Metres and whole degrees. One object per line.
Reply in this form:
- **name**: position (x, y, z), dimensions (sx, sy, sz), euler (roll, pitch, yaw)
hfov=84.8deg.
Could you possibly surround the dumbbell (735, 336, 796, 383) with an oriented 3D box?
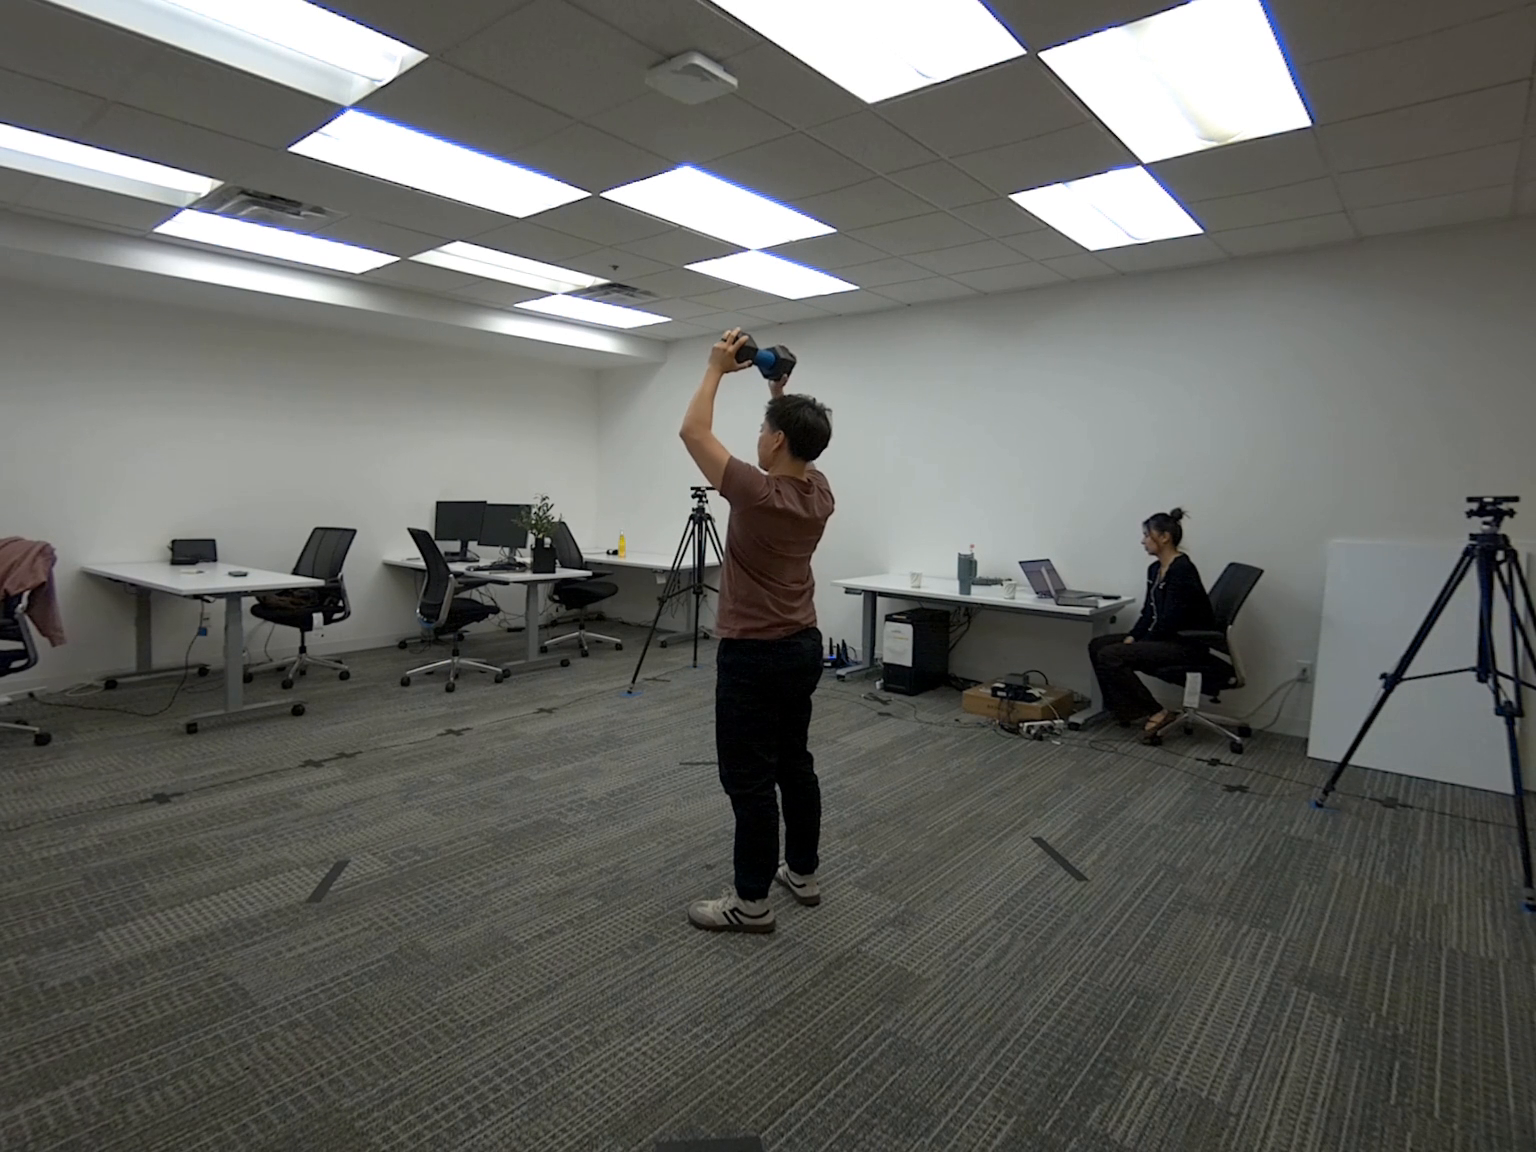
- **dumbbell**: position (-0.047, -0.726, 2.826), dimensions (0.113, 0.122, 0.284), euler (33, 20, 34)
